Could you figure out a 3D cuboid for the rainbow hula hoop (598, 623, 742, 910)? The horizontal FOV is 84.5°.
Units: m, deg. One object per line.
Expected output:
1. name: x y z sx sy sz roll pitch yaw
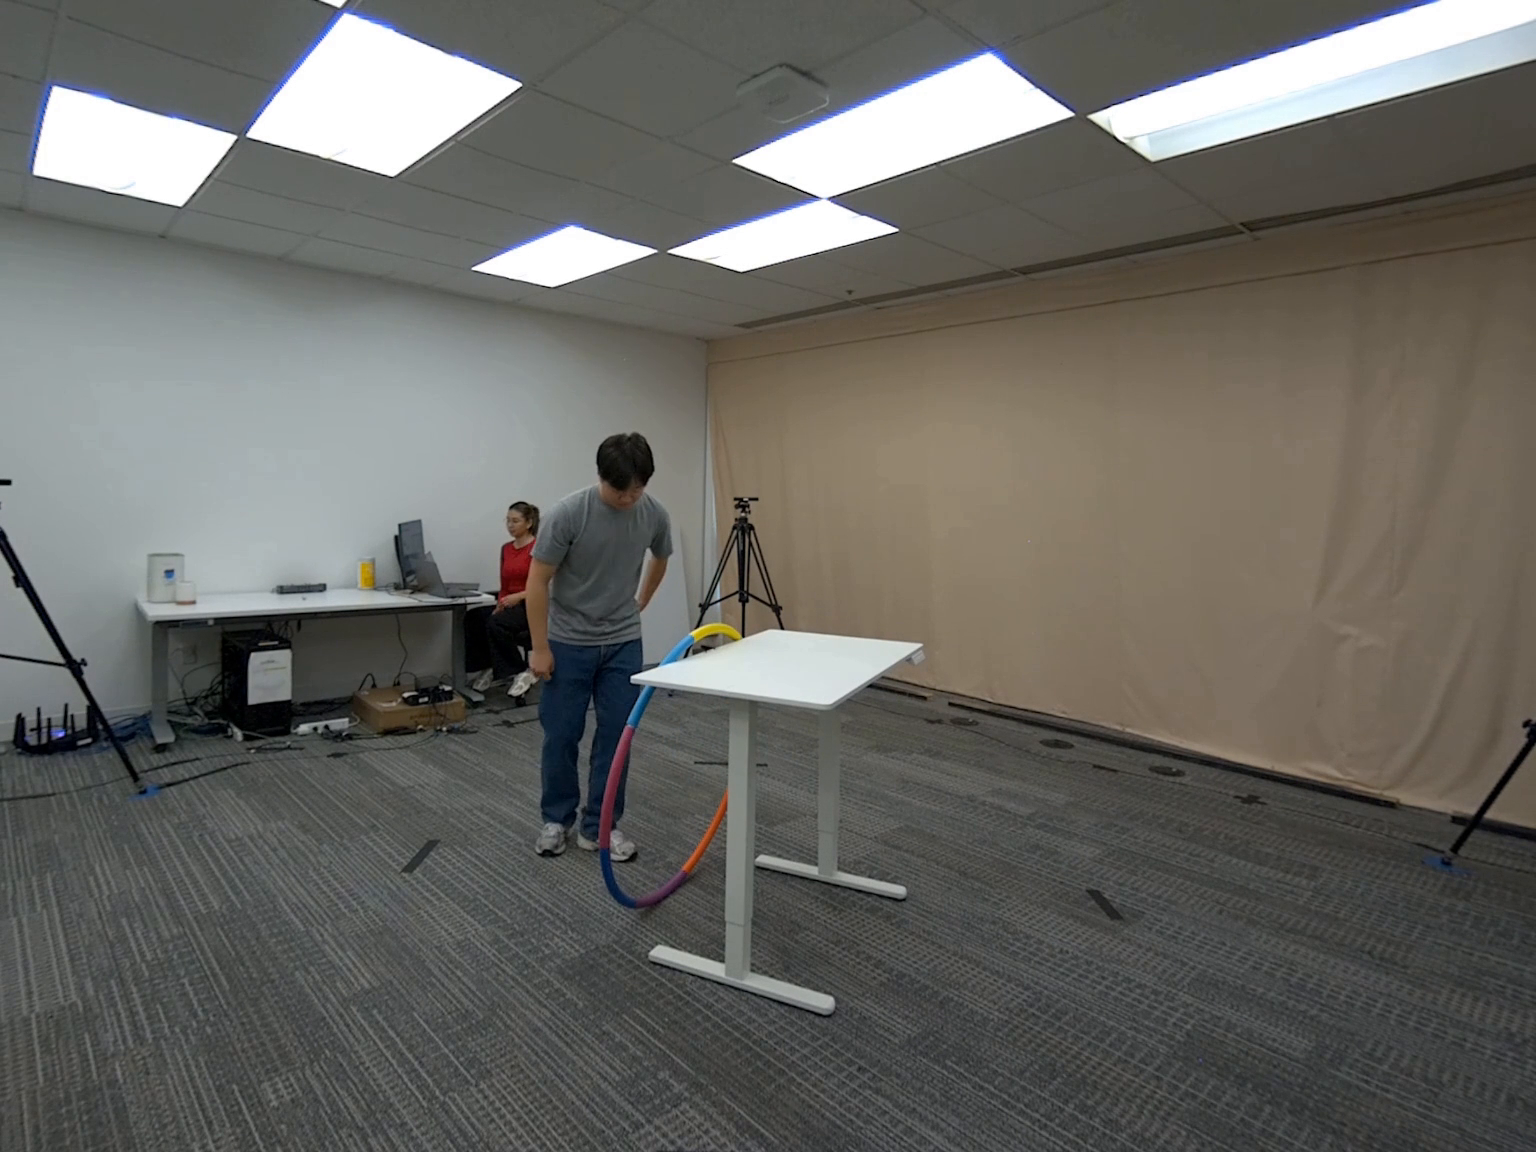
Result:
1. rainbow hula hoop: -0.291 0.644 2.889 0.036 0.974 0.963 14 9 22
